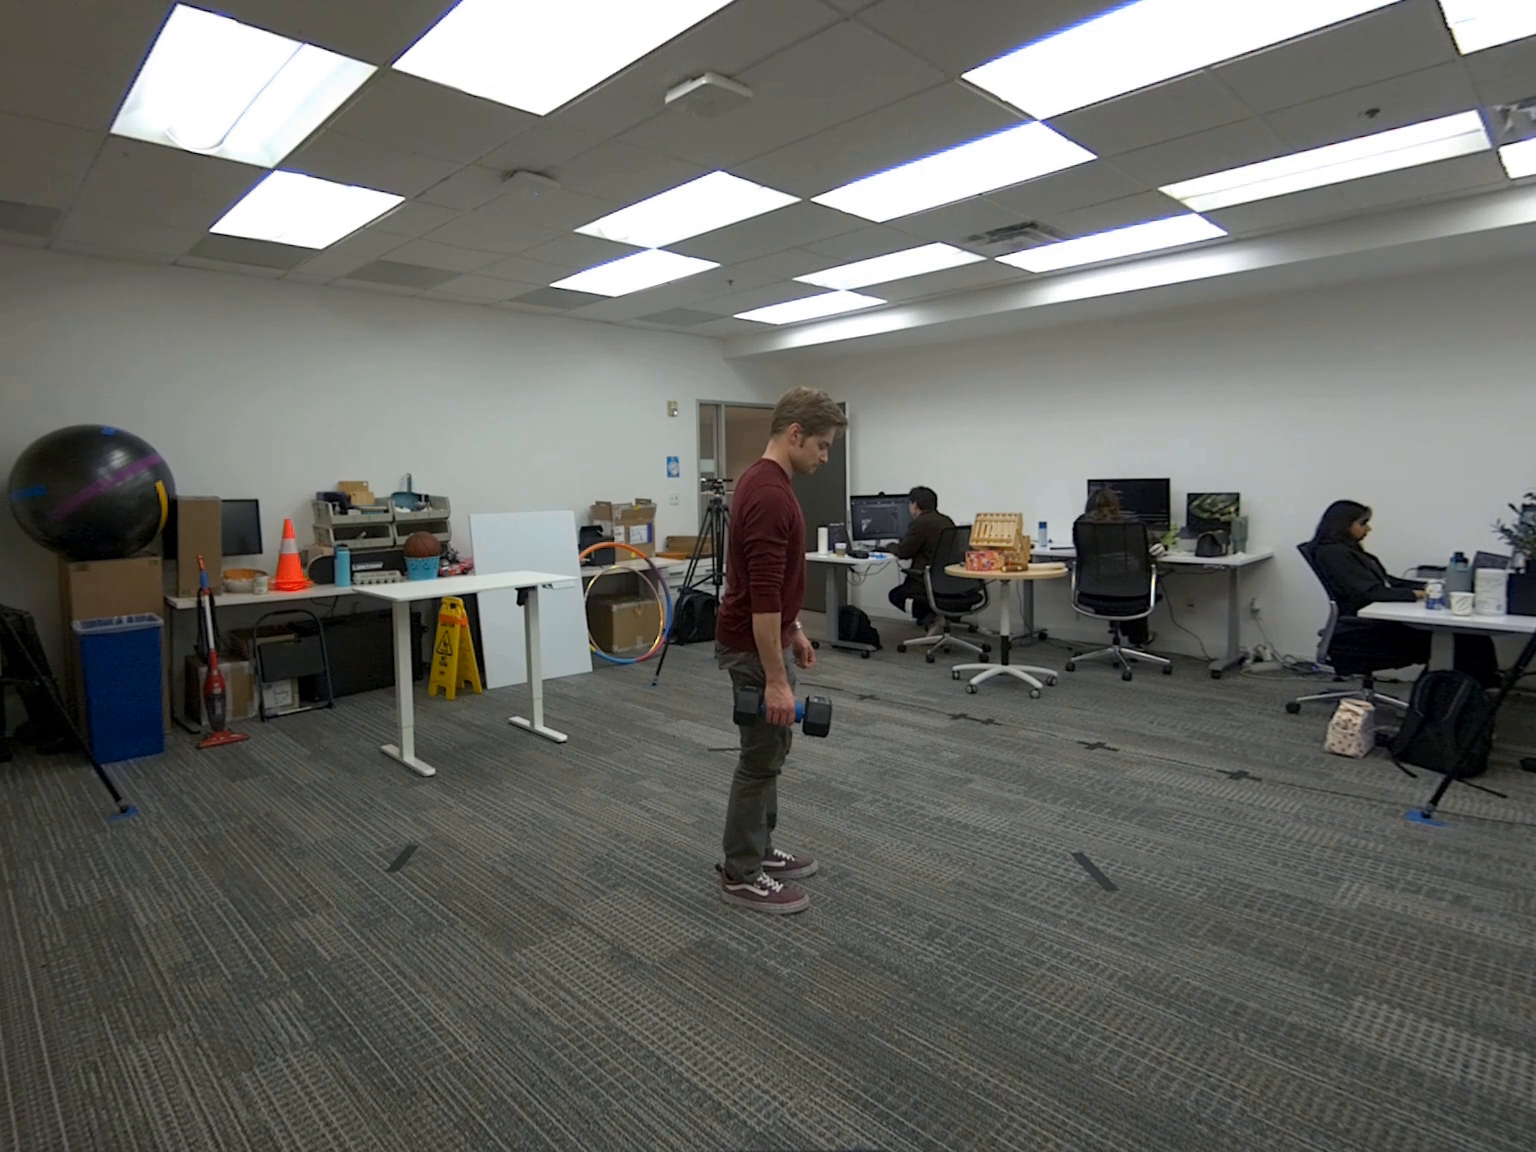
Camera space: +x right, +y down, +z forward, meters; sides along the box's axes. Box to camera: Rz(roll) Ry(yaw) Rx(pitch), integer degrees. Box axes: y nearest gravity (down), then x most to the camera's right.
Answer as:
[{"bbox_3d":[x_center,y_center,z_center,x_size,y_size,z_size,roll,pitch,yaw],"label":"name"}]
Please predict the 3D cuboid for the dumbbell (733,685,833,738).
[{"bbox_3d":[0.055,0.410,2.583,0.295,0.125,0.106,5,-22,4],"label":"dumbbell"}]
